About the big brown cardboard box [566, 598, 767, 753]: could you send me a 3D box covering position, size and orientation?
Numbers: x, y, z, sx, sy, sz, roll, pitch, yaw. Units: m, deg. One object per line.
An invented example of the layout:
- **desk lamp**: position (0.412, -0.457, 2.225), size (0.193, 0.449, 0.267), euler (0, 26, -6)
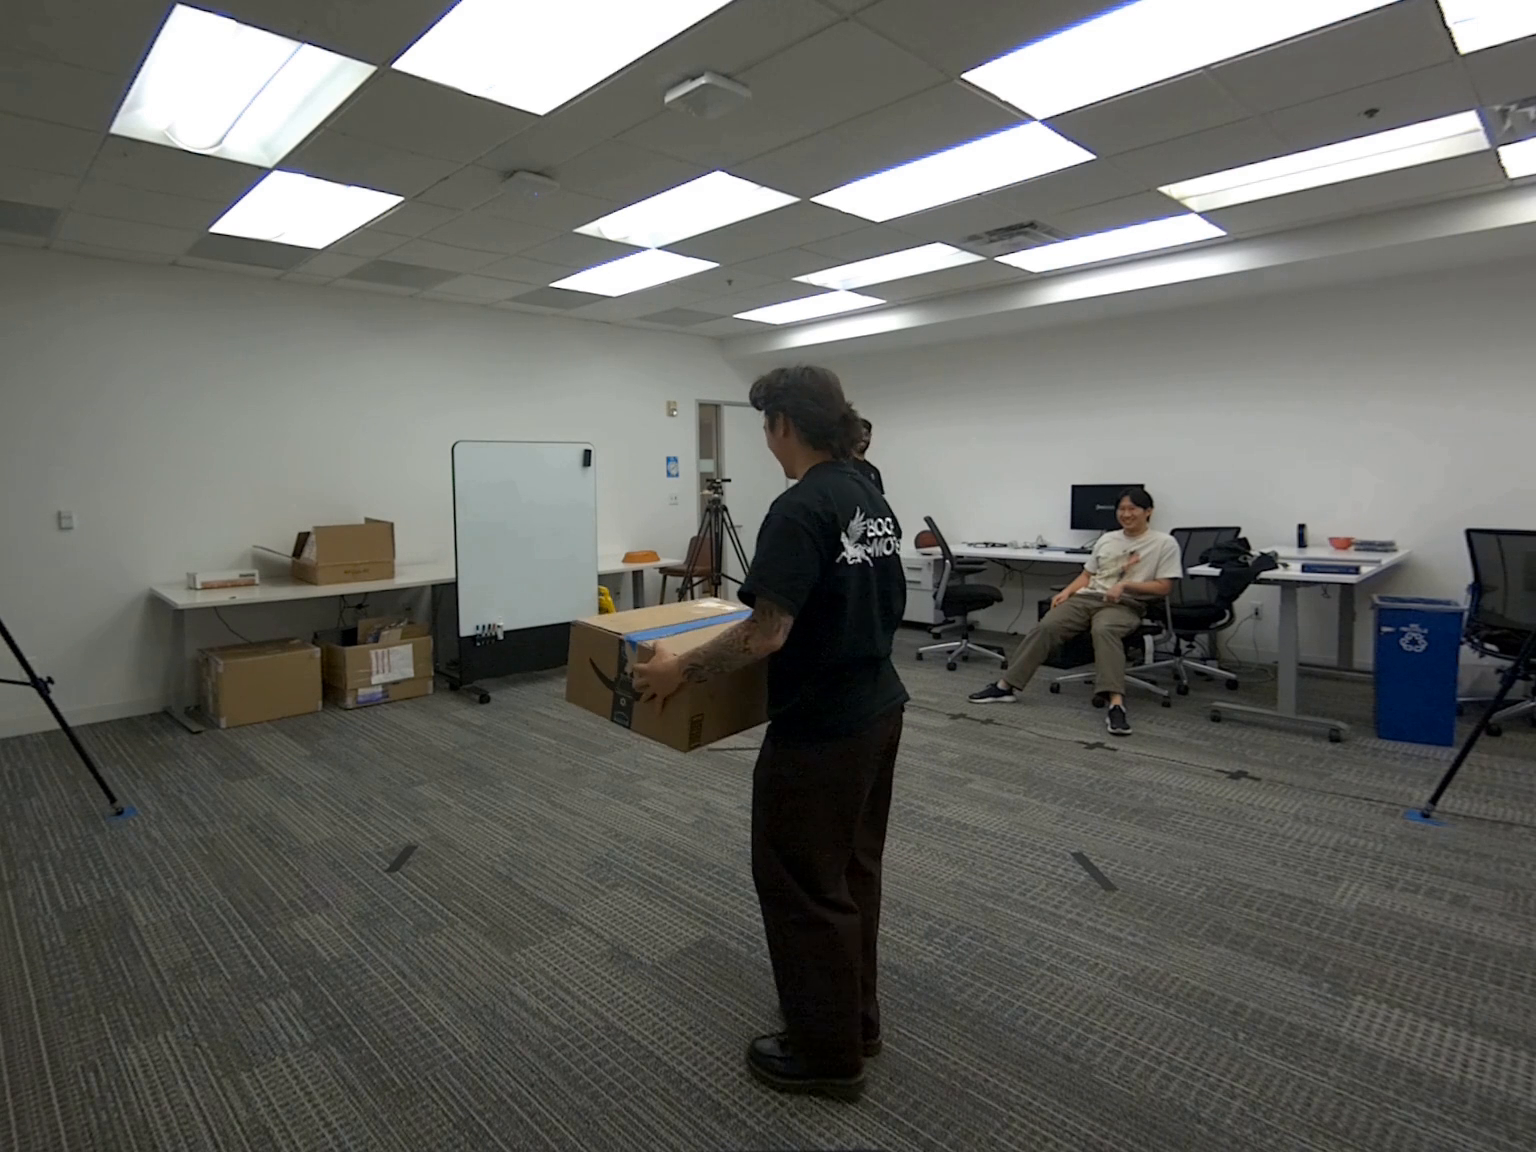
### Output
- **big brown cardboard box**: position (-0.171, 0.227, 2.235), size (0.431, 0.231, 0.574), euler (12, 13, 37)
